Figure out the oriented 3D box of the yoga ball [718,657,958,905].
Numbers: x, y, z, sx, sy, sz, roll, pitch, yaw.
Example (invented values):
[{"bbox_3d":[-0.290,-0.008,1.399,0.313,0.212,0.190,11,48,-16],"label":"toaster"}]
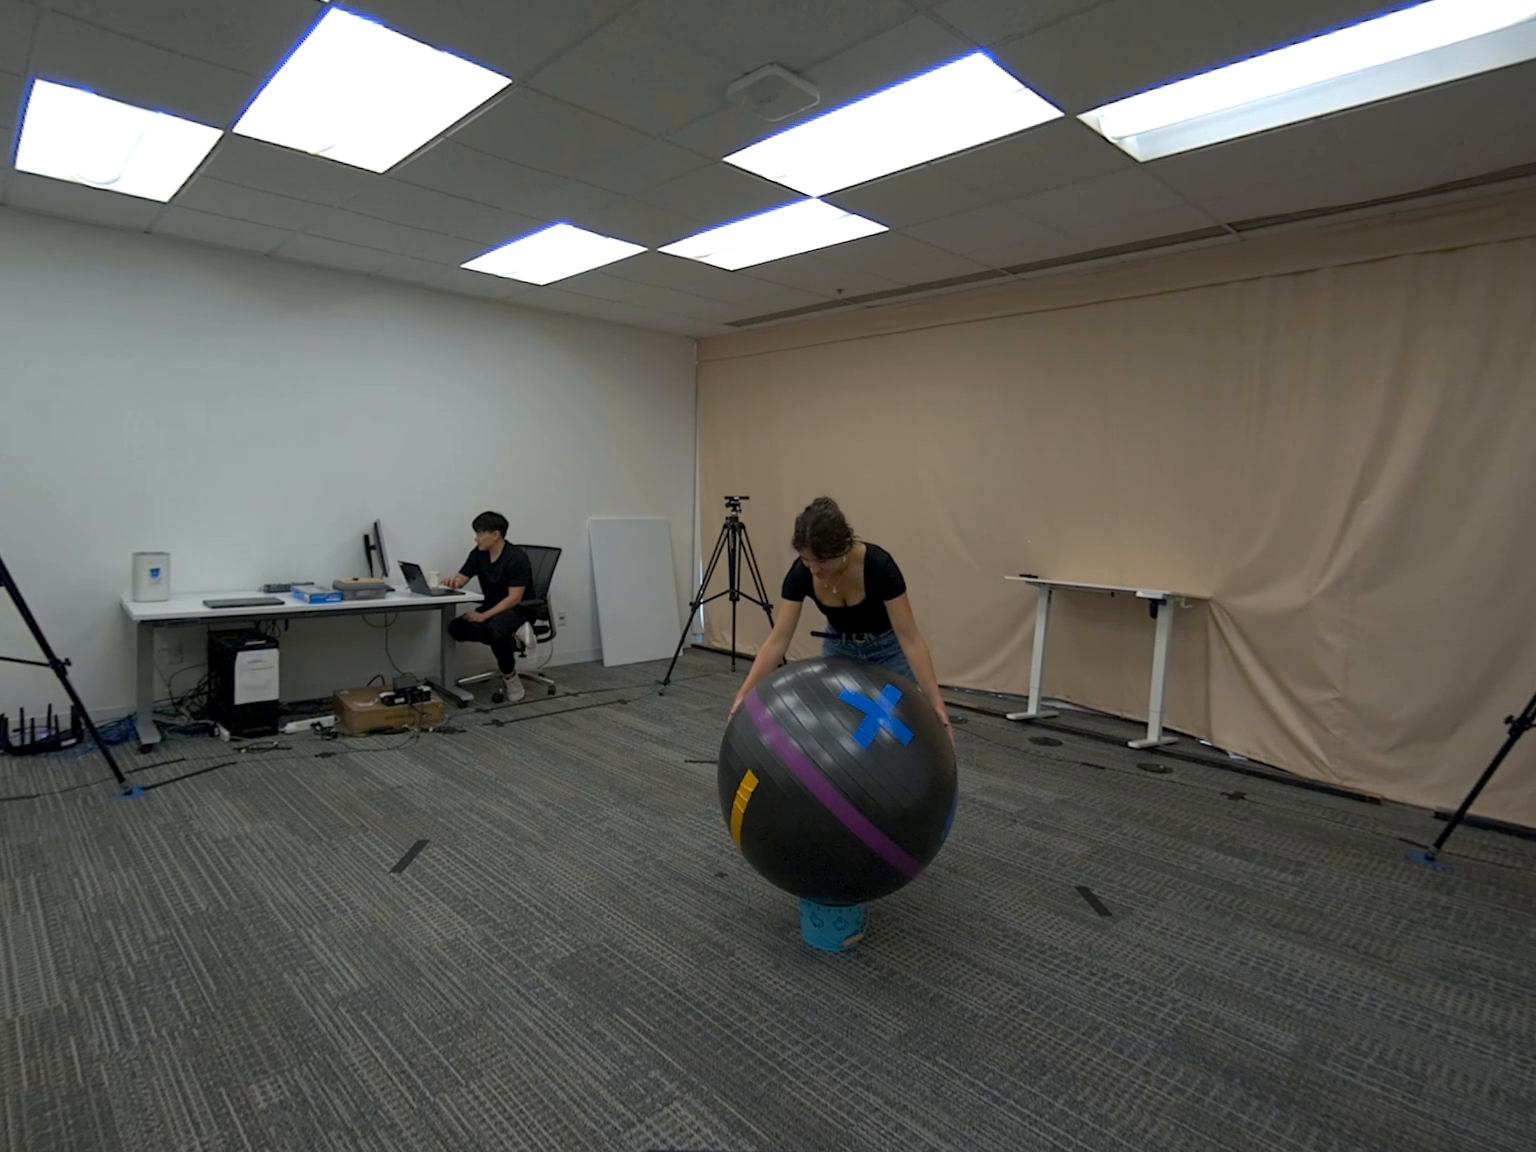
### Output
[{"bbox_3d":[0.220,0.642,2.668,0.757,0.756,0.761,1,4,-1],"label":"yoga ball"}]
